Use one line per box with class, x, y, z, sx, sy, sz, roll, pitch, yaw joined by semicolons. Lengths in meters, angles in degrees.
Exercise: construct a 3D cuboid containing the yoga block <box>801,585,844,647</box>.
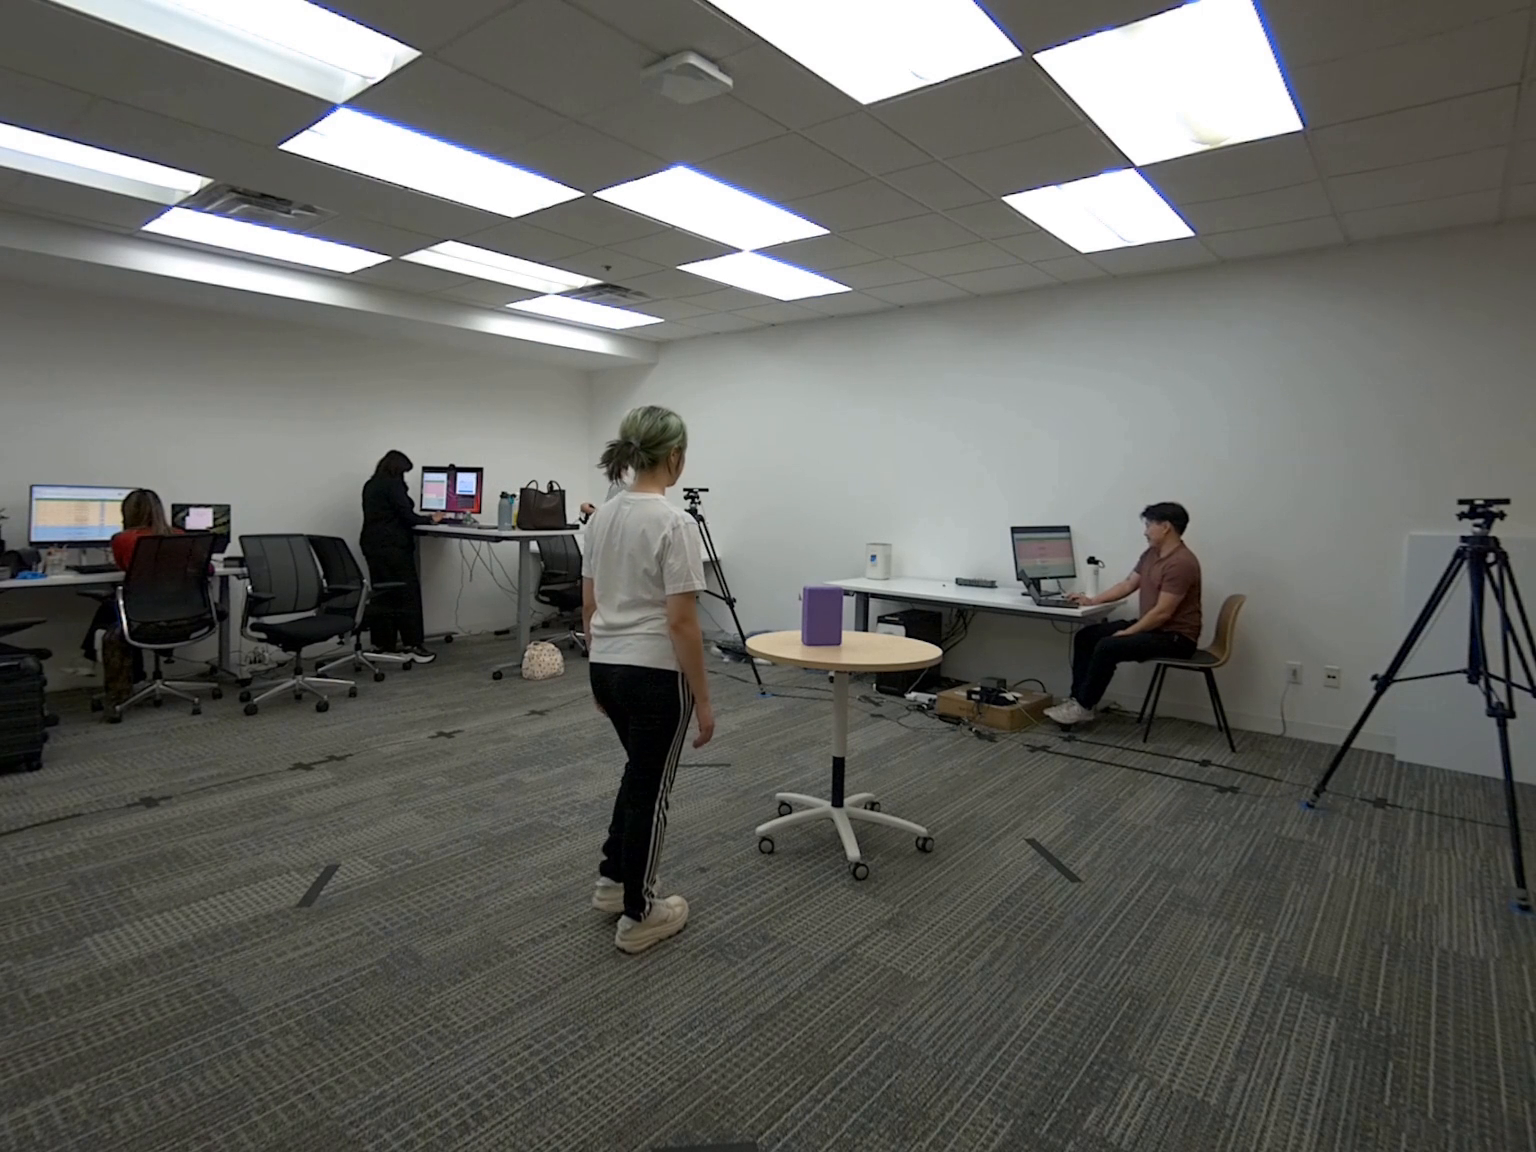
yoga block;0.211;0.156;3.370;0.147;0.229;0.077;4;2;-10
